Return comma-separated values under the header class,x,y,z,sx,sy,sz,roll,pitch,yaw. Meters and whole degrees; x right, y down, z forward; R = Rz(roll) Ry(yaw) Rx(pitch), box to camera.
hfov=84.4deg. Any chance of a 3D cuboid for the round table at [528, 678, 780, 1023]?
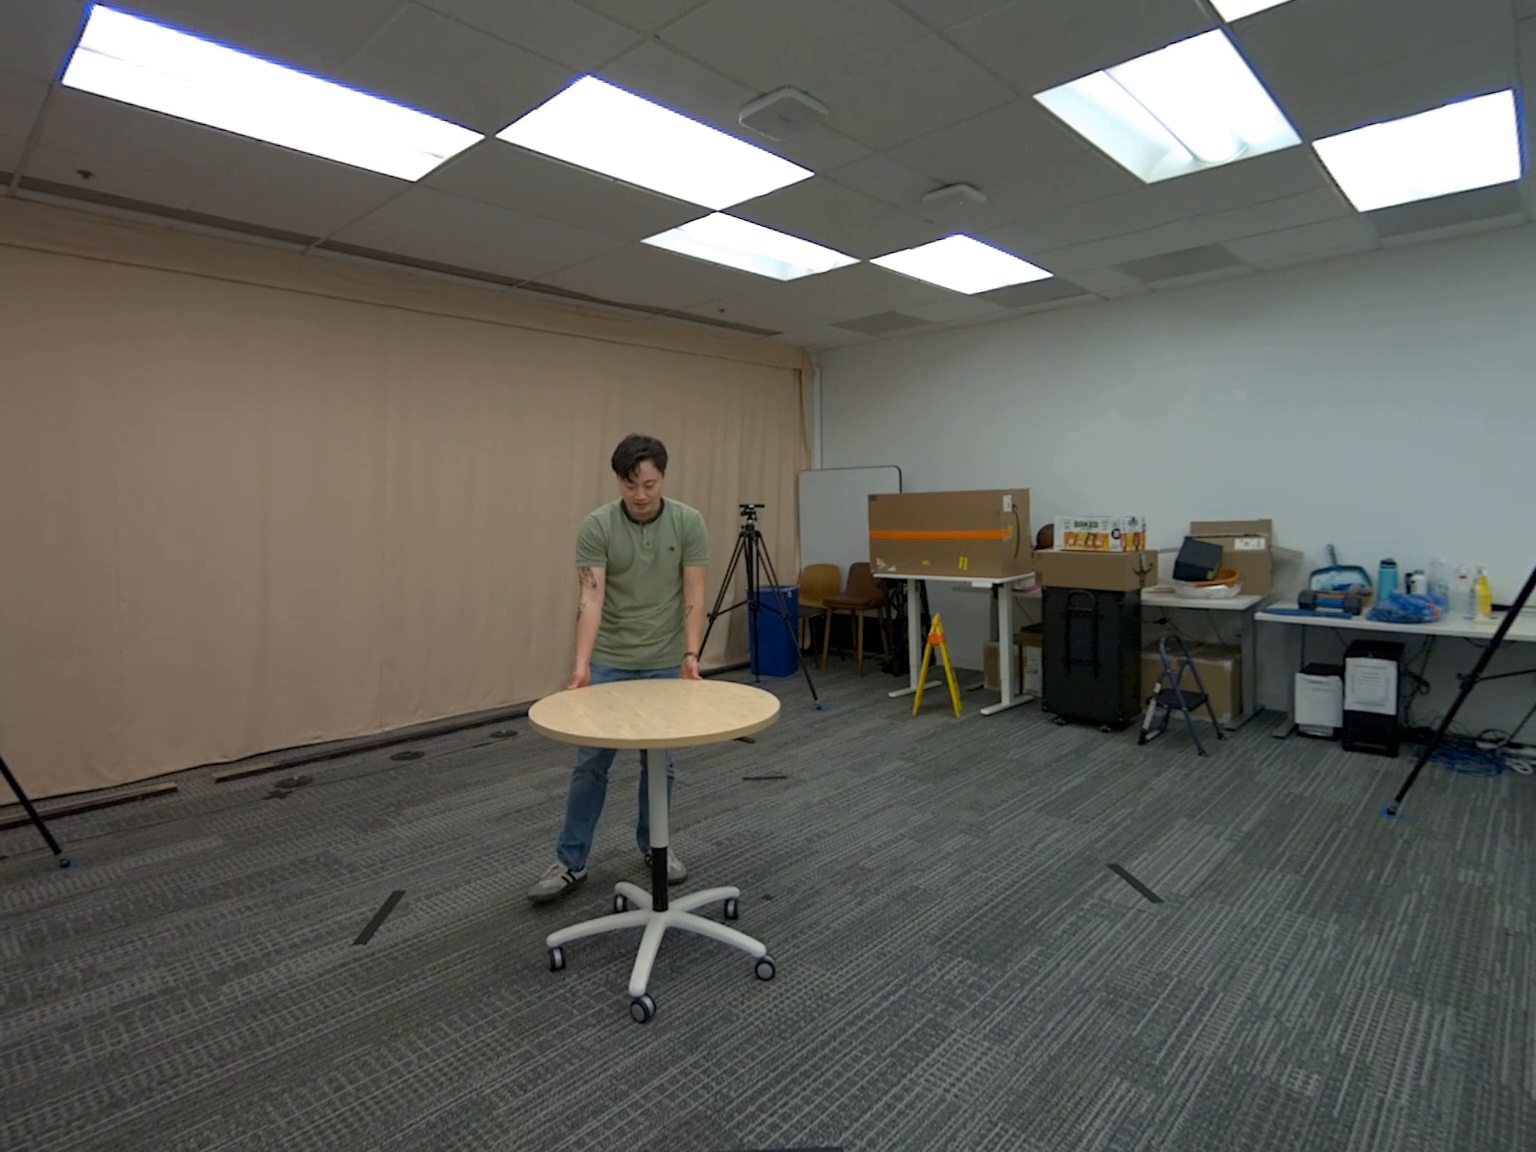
class,x,y,z,sx,sy,sz,roll,pitch,yaw
round table,-0.330,0.792,2.596,0.763,0.792,0.766,-1,4,-2
